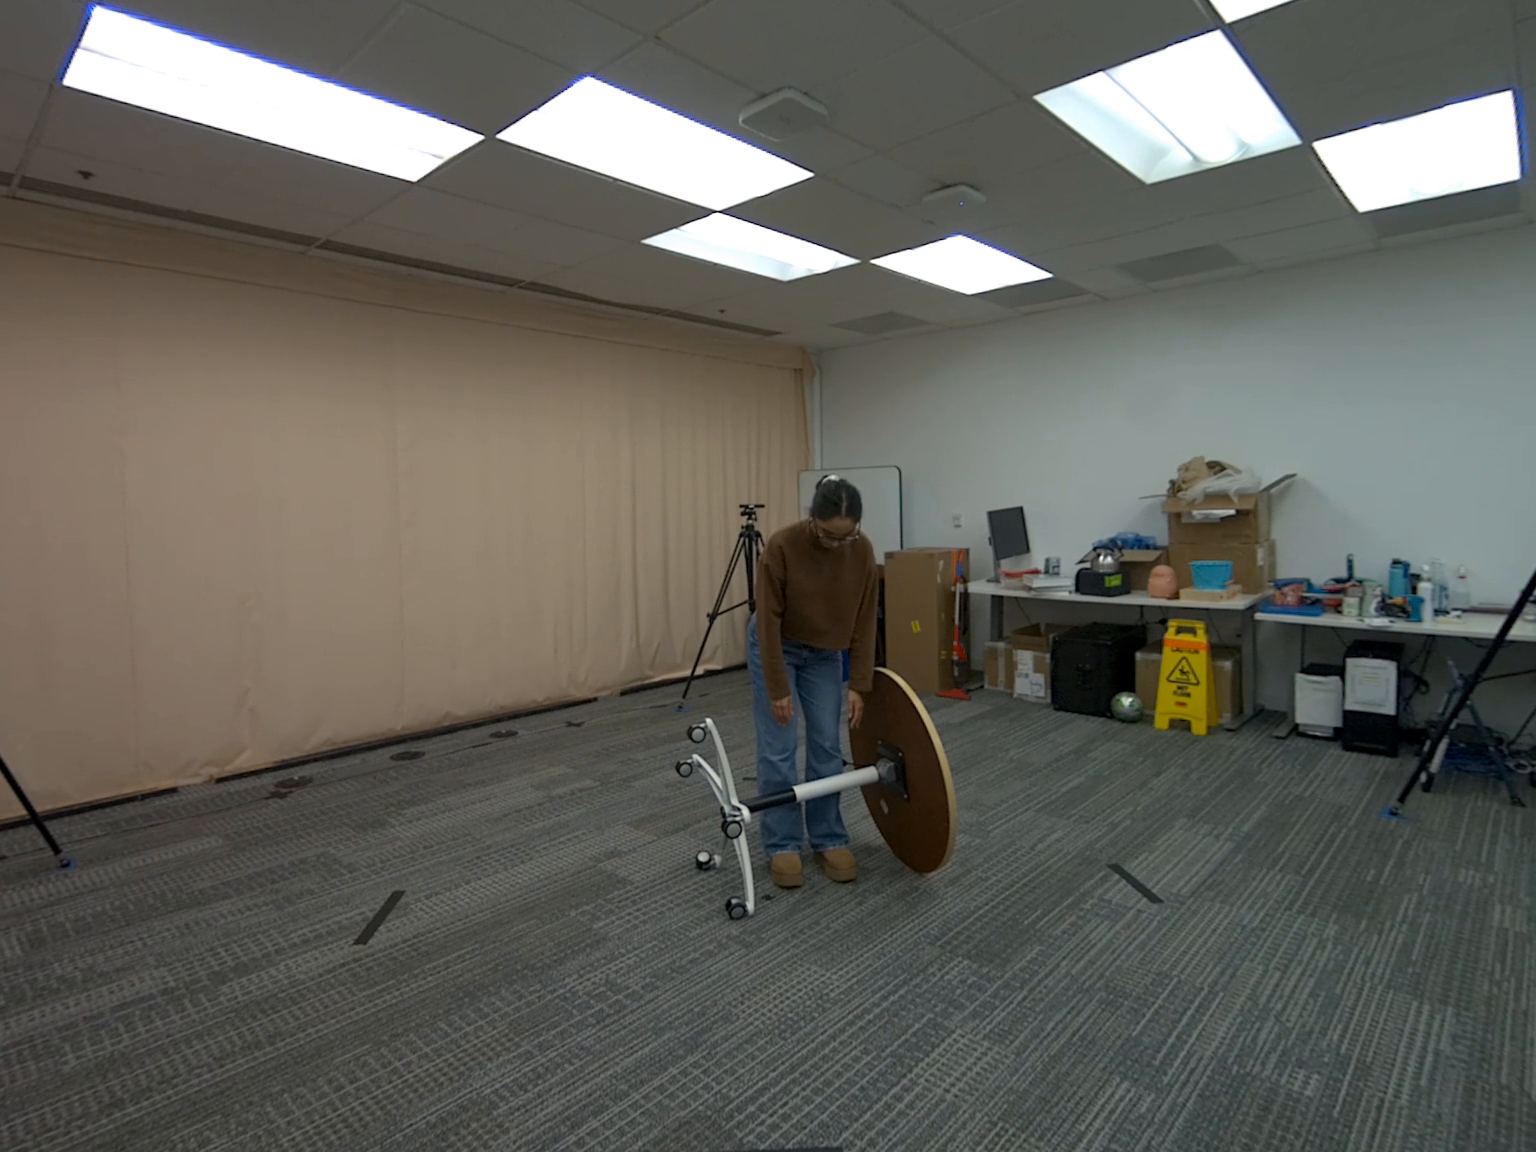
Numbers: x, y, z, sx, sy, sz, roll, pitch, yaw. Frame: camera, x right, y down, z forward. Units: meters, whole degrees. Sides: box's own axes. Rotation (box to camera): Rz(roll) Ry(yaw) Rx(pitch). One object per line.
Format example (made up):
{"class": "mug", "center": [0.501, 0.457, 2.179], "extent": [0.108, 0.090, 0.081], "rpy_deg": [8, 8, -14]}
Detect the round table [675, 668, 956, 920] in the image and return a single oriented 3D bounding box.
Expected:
{"class": "round table", "center": [0.131, 0.802, 3.109], "extent": [0.782, 0.760, 0.779], "rpy_deg": [-10, 6, -17]}
